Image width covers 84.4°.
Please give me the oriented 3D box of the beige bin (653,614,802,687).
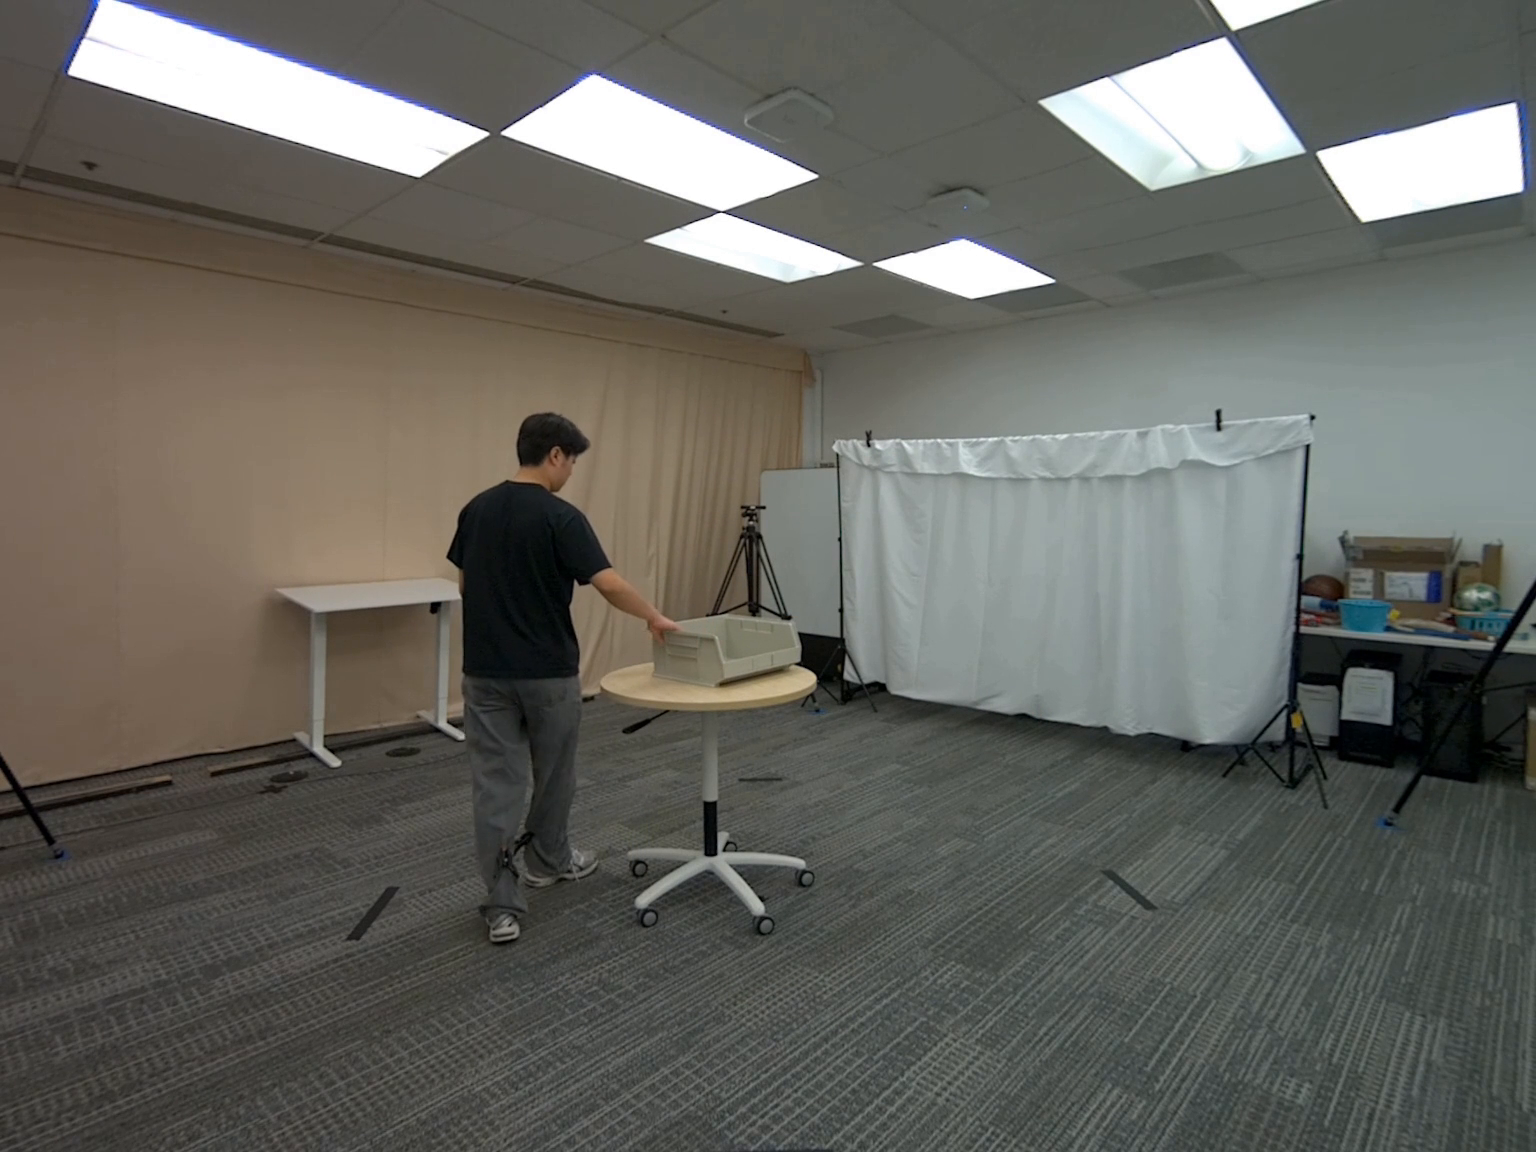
[{"bbox_3d":[-0.144,0.269,3.058,0.389,0.188,0.410,1,5,42],"label":"beige bin"}]
